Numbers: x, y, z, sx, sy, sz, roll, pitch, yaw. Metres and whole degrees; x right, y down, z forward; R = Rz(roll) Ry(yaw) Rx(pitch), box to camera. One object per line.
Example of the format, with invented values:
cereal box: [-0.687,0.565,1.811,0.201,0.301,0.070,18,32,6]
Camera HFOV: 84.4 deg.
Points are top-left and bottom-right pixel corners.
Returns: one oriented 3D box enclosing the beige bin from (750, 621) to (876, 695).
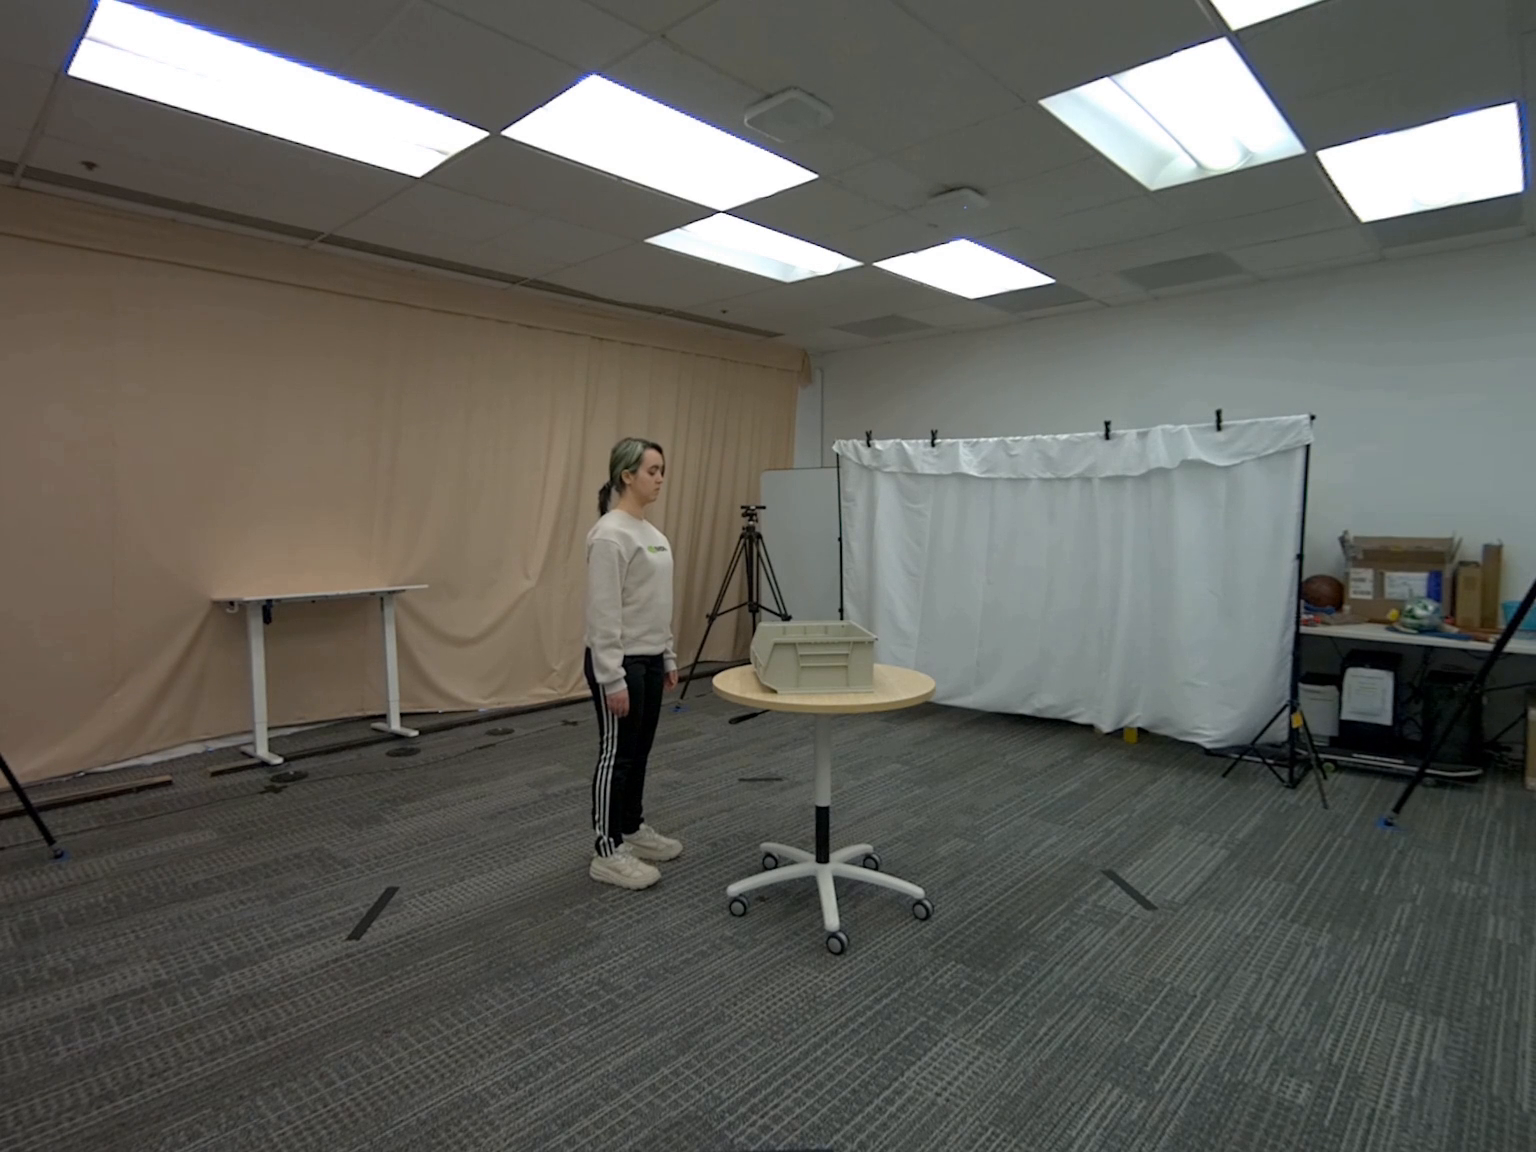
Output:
beige bin: [0.141,0.285,2.912,0.376,0.188,0.425,-3,4,-5]
